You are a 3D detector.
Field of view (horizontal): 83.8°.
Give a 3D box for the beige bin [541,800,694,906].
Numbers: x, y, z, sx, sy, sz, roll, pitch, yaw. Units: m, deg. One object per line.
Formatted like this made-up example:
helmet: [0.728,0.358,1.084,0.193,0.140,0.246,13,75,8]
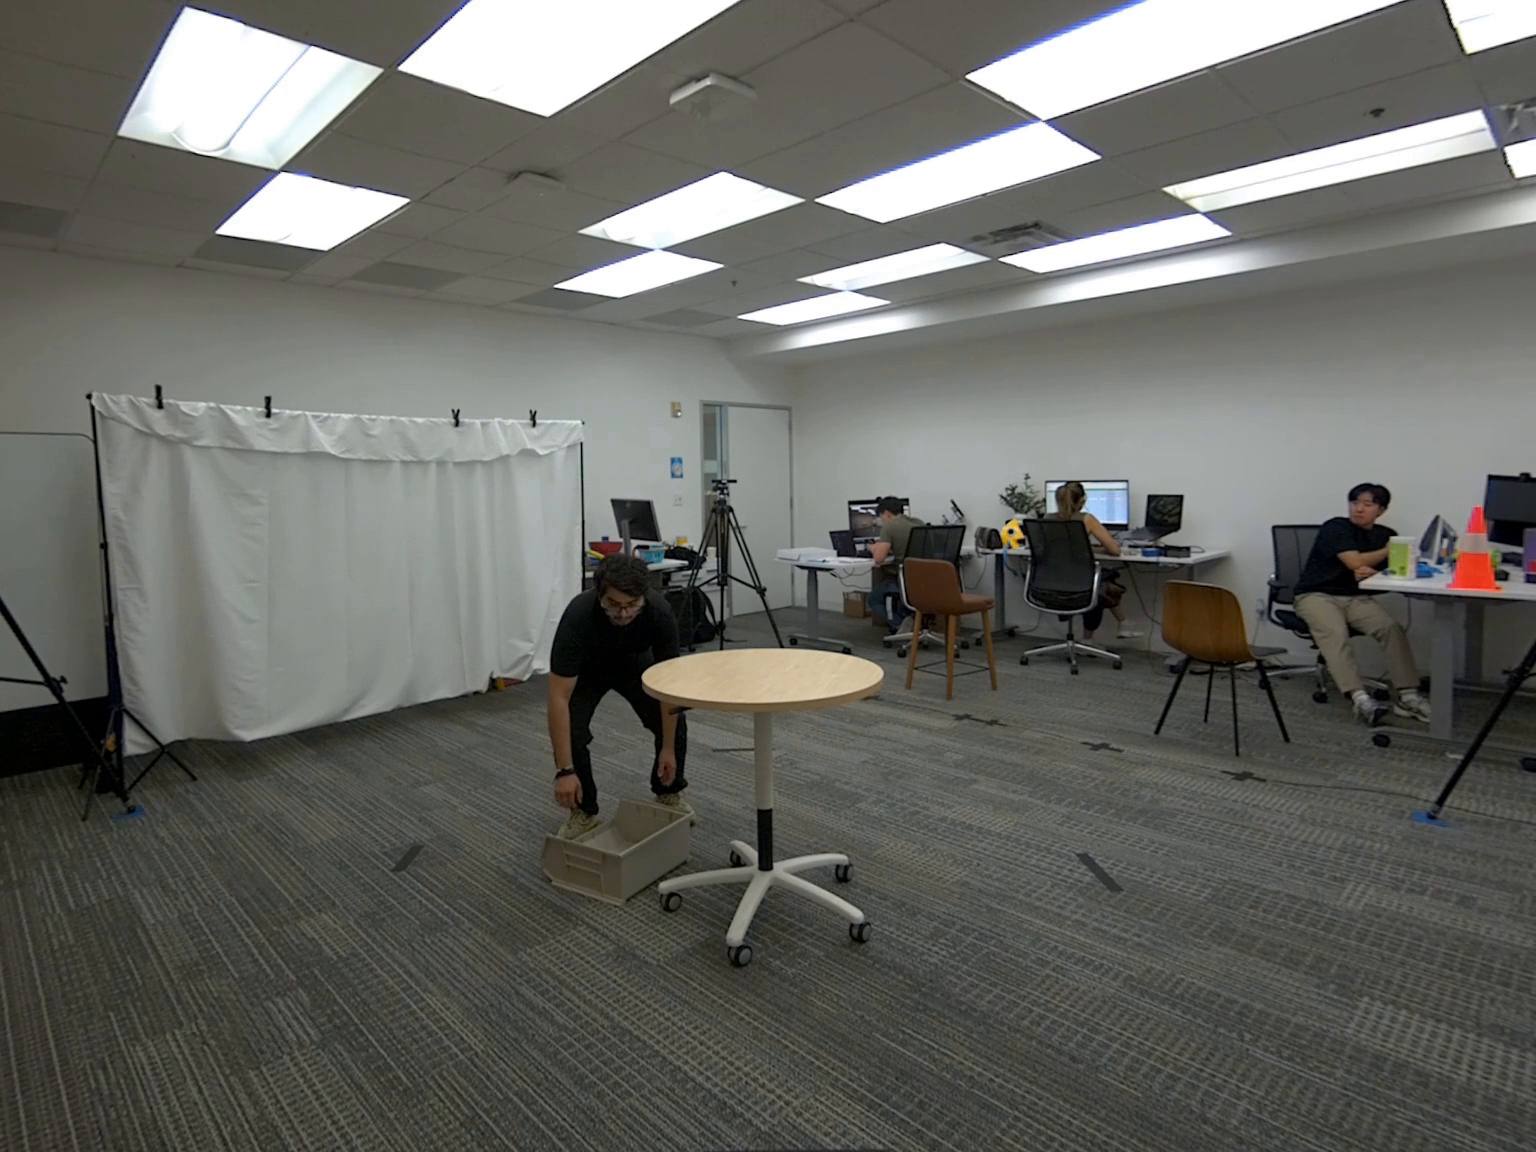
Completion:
beige bin: [-0.535,0.975,3.069,0.388,0.188,0.413,4,8,32]
